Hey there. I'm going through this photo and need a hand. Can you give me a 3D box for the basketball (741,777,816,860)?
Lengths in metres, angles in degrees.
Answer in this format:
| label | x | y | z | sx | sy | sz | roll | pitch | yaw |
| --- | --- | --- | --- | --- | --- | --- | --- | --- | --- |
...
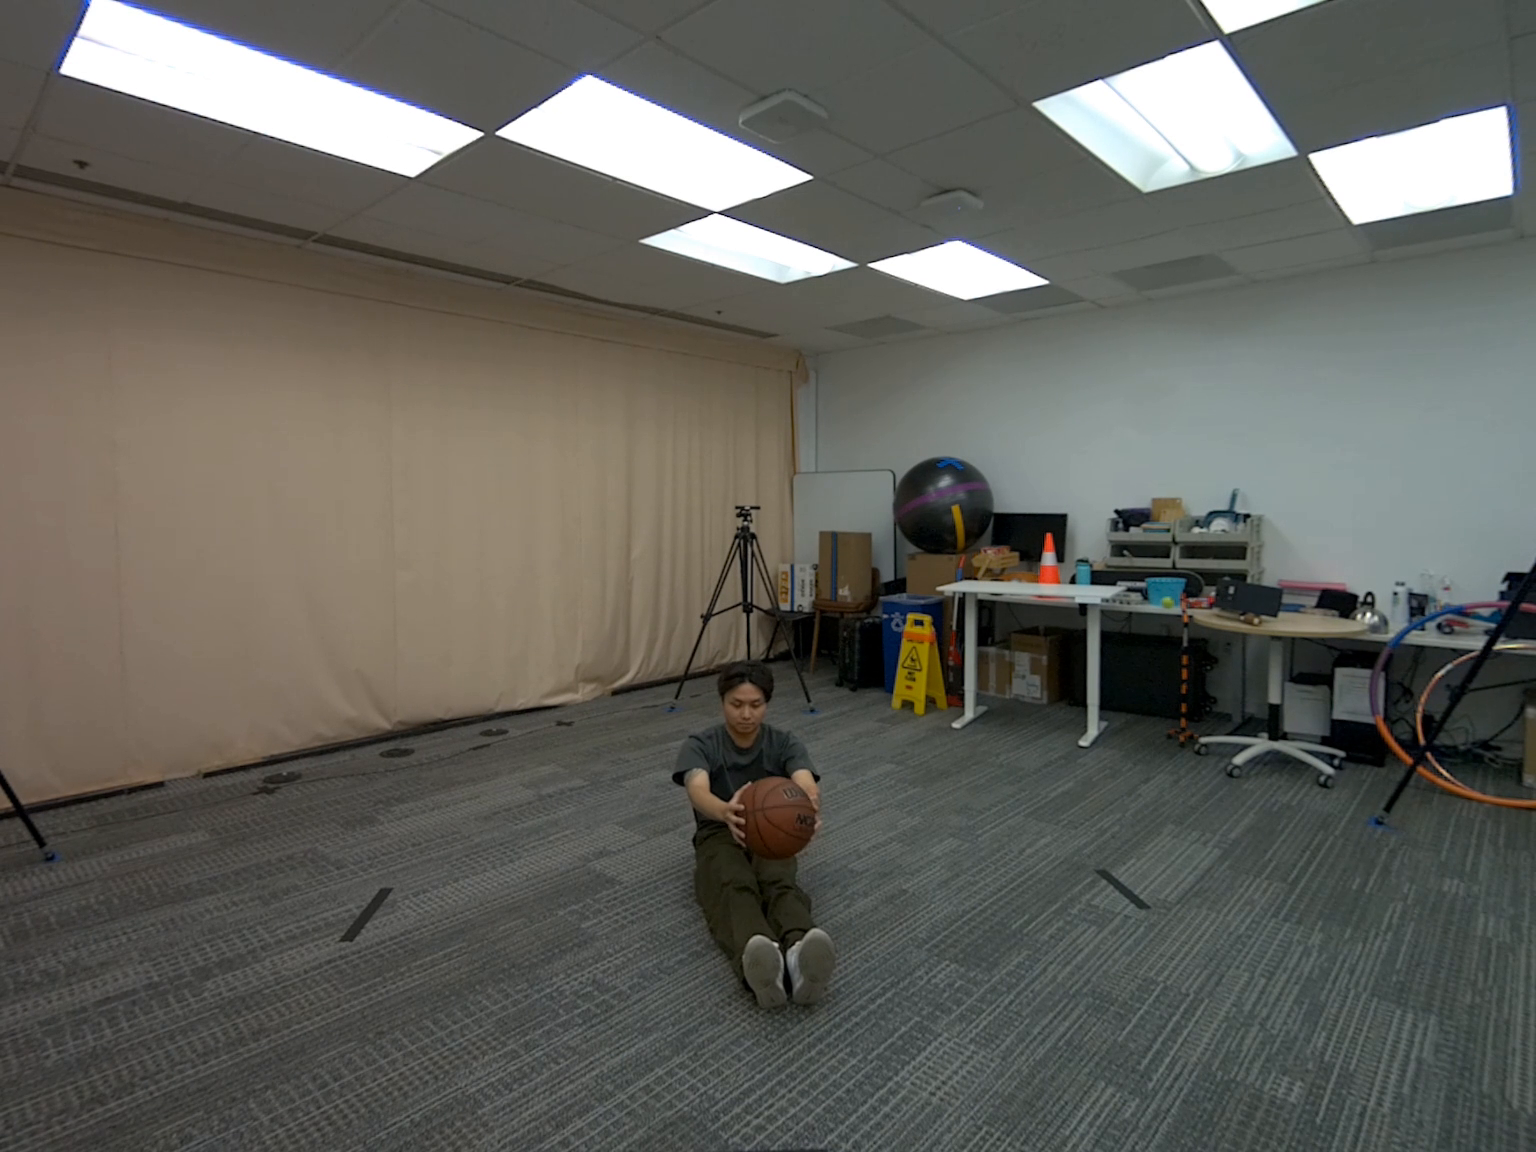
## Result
| label | x | y | z | sx | sy | sz | roll | pitch | yaw |
| --- | --- | --- | --- | --- | --- | --- | --- | --- | --- |
| basketball | 0.023 | 0.724 | 2.539 | 0.236 | 0.235 | 0.237 | 0 | 4 | -2 |
